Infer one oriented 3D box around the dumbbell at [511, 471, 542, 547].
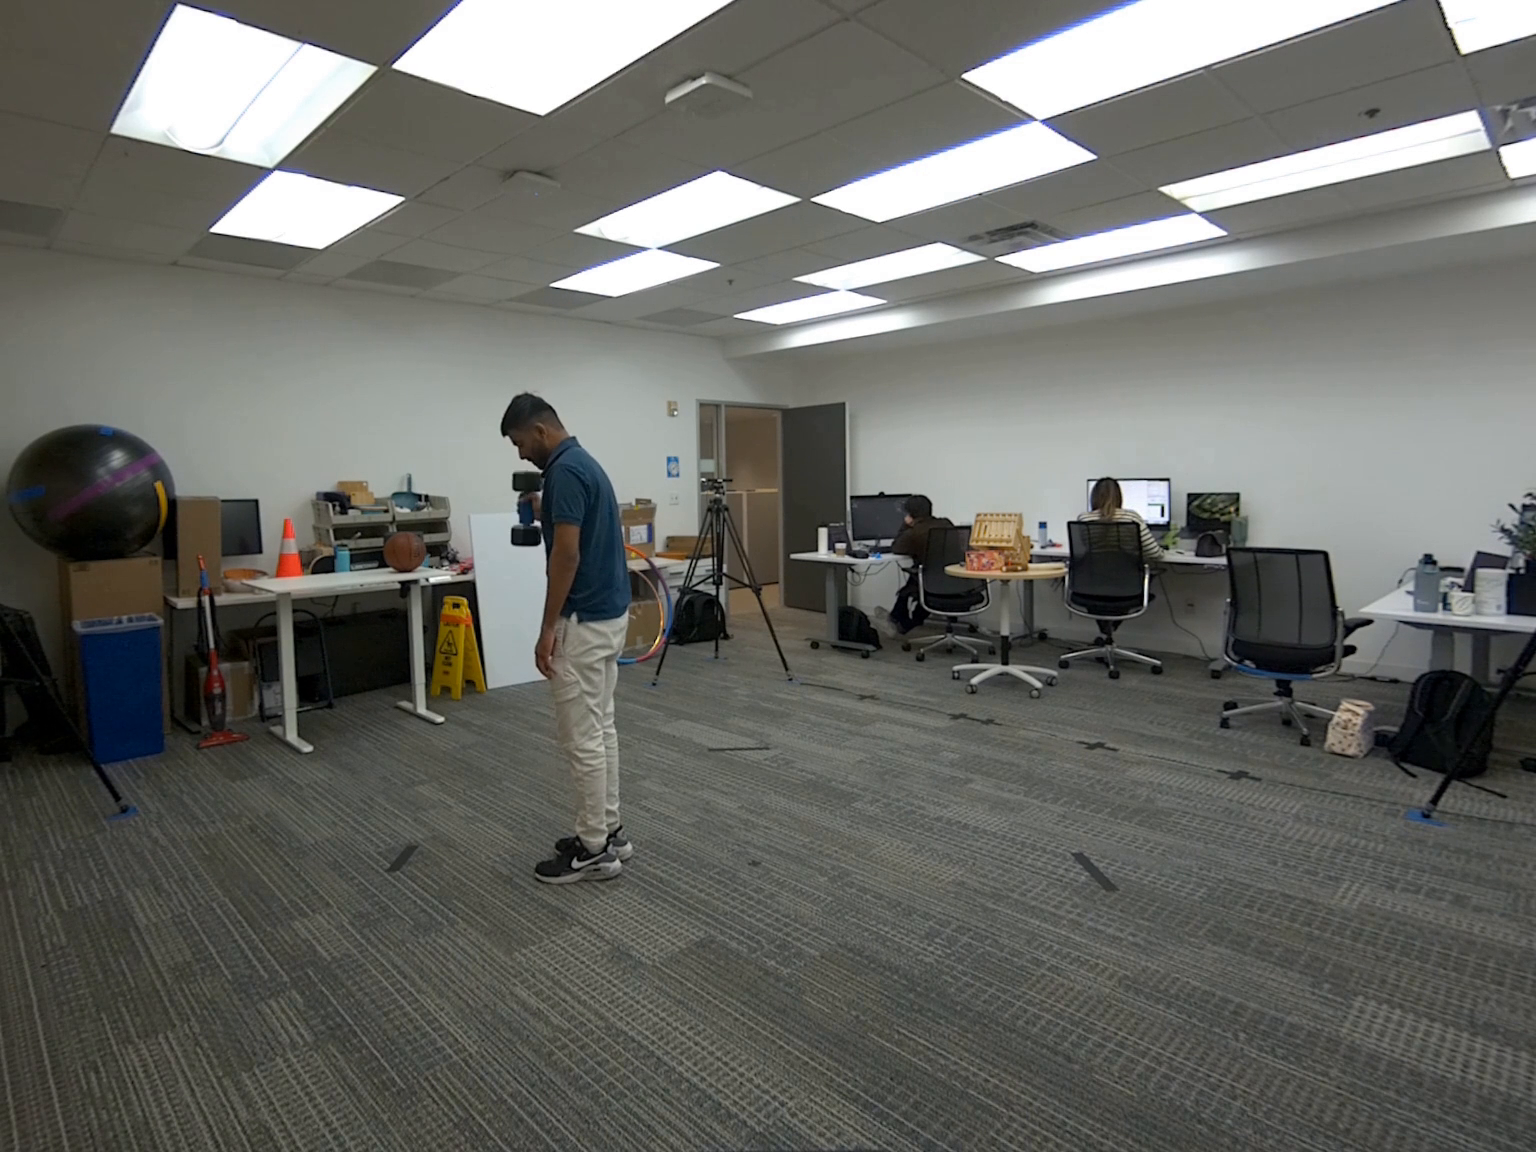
[{"bbox_3d":[-0.934,-0.258,3.336,0.109,0.293,0.123,3,3,0],"label":"dumbbell"}]
